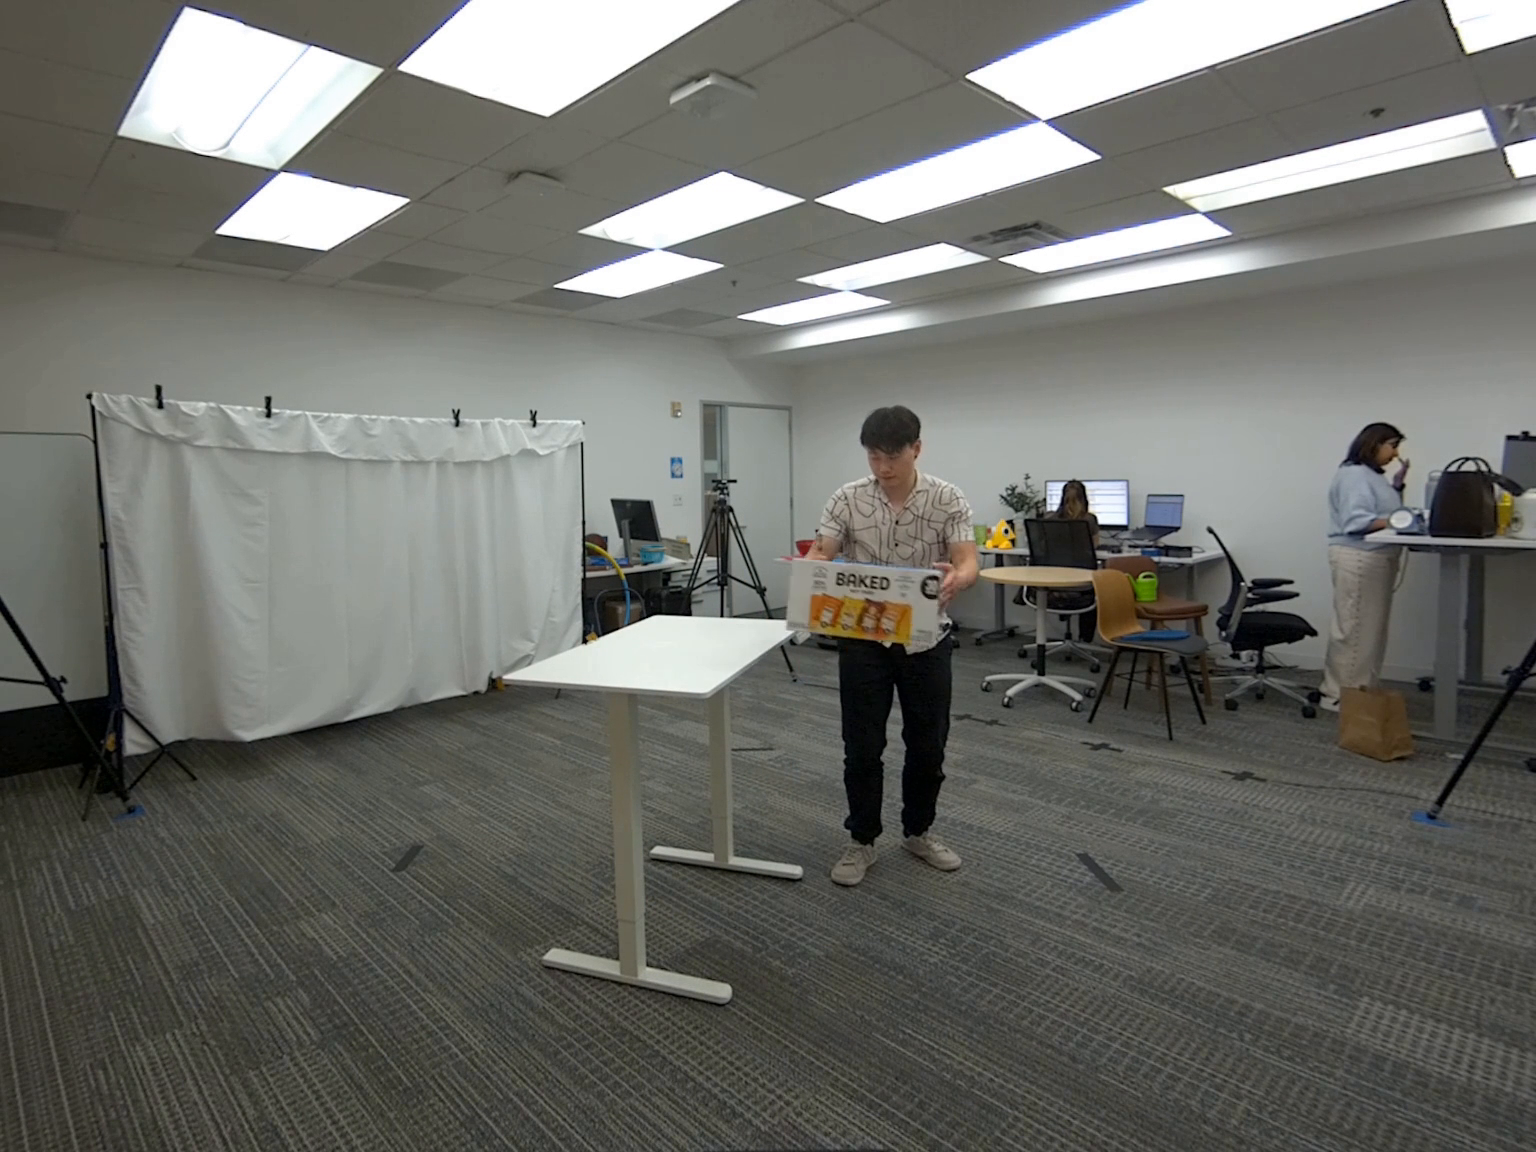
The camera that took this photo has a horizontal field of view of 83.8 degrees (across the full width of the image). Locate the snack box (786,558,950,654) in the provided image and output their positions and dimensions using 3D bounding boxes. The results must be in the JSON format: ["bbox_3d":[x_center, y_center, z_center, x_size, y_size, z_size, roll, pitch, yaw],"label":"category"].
[{"bbox_3d":[0.292,0.075,2.490,0.412,0.205,0.335,5,2,14],"label":"snack box"}]
